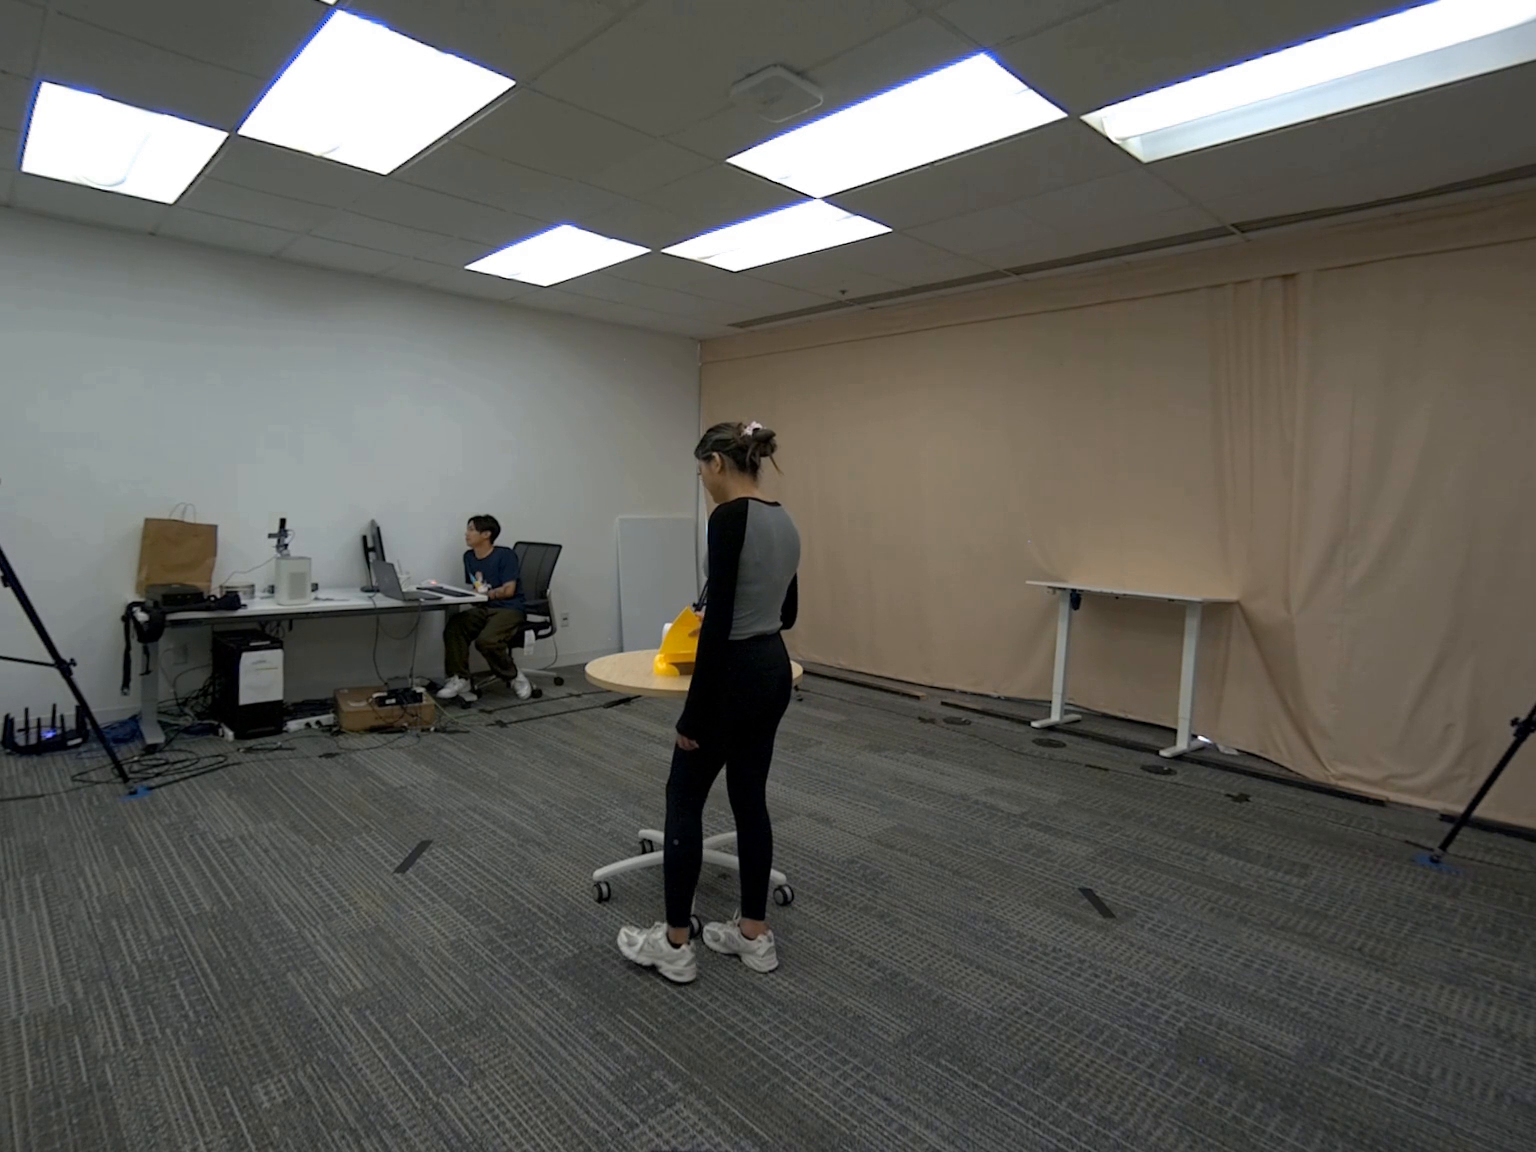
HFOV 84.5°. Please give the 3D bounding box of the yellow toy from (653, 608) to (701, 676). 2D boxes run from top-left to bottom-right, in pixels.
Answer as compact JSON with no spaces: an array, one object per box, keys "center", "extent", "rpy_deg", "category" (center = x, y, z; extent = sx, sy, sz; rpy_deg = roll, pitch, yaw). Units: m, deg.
[{"center":[-0.303,0.214,2.891],"extent":[0.202,0.230,0.196],"rpy_deg":[-1,5,-17],"category":"yellow toy"}]
